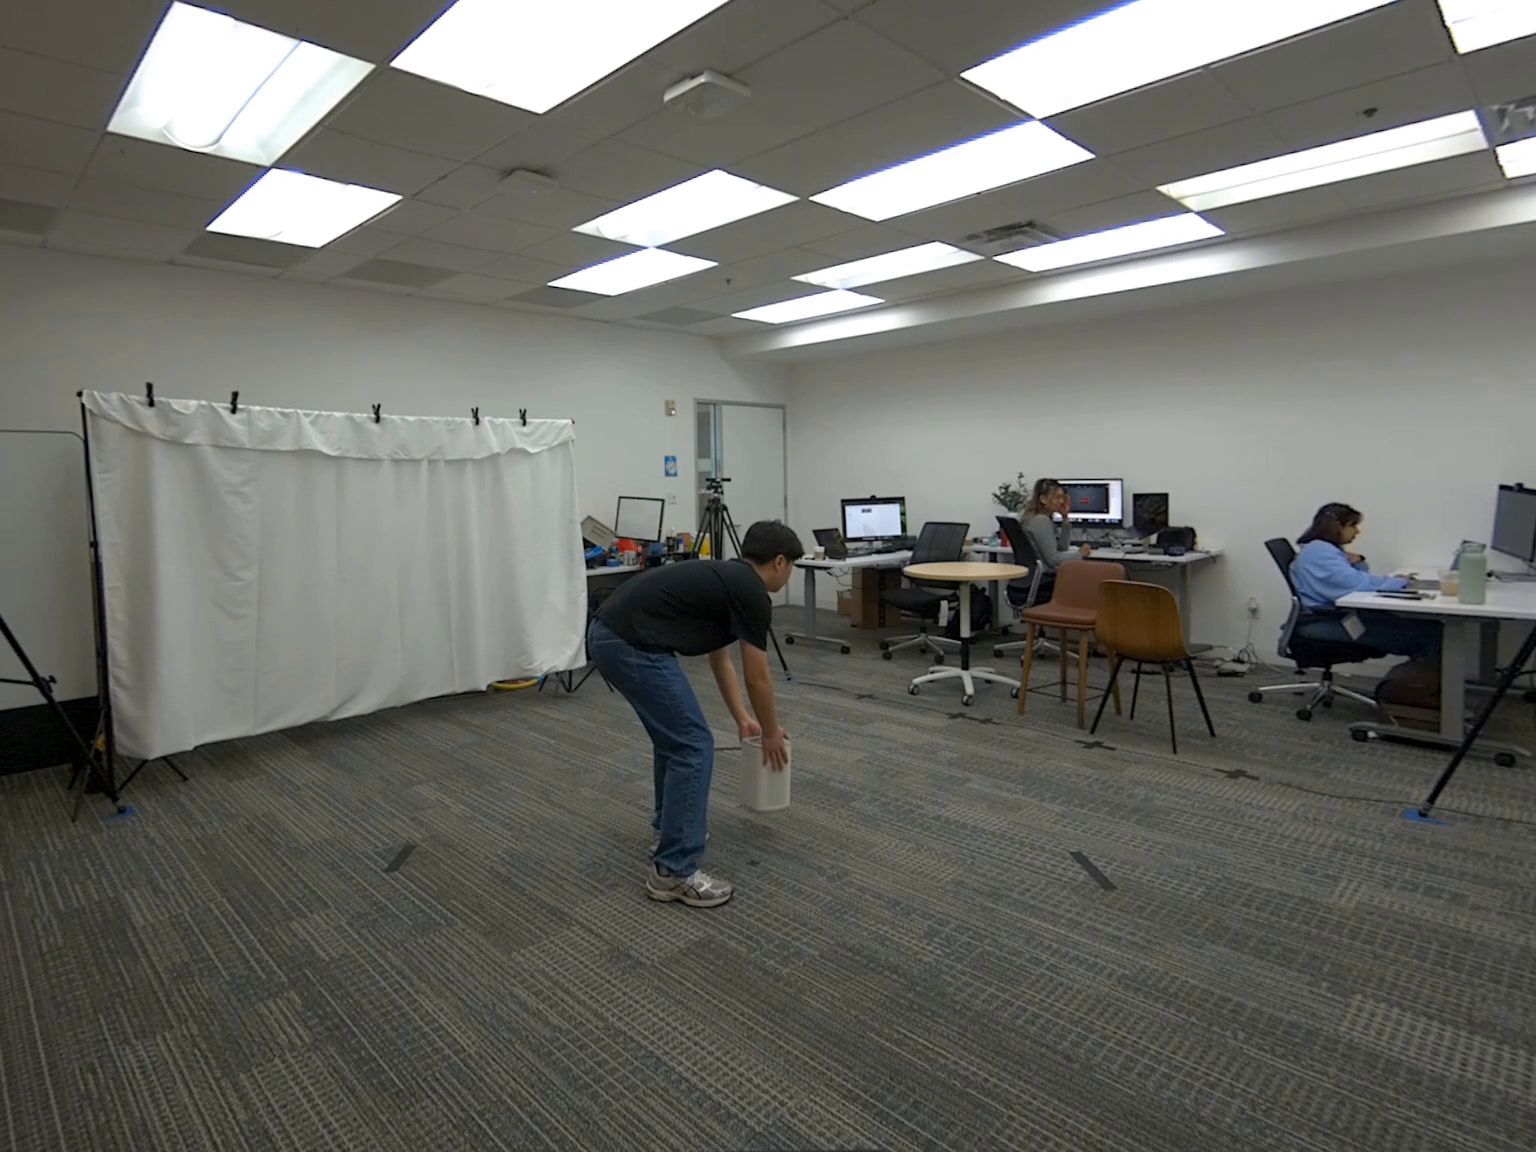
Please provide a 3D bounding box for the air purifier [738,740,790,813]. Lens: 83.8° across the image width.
[{"bbox_3d":[-0.009,0.774,3.365,0.167,0.265,0.176,0,1,-34],"label":"air purifier"}]
